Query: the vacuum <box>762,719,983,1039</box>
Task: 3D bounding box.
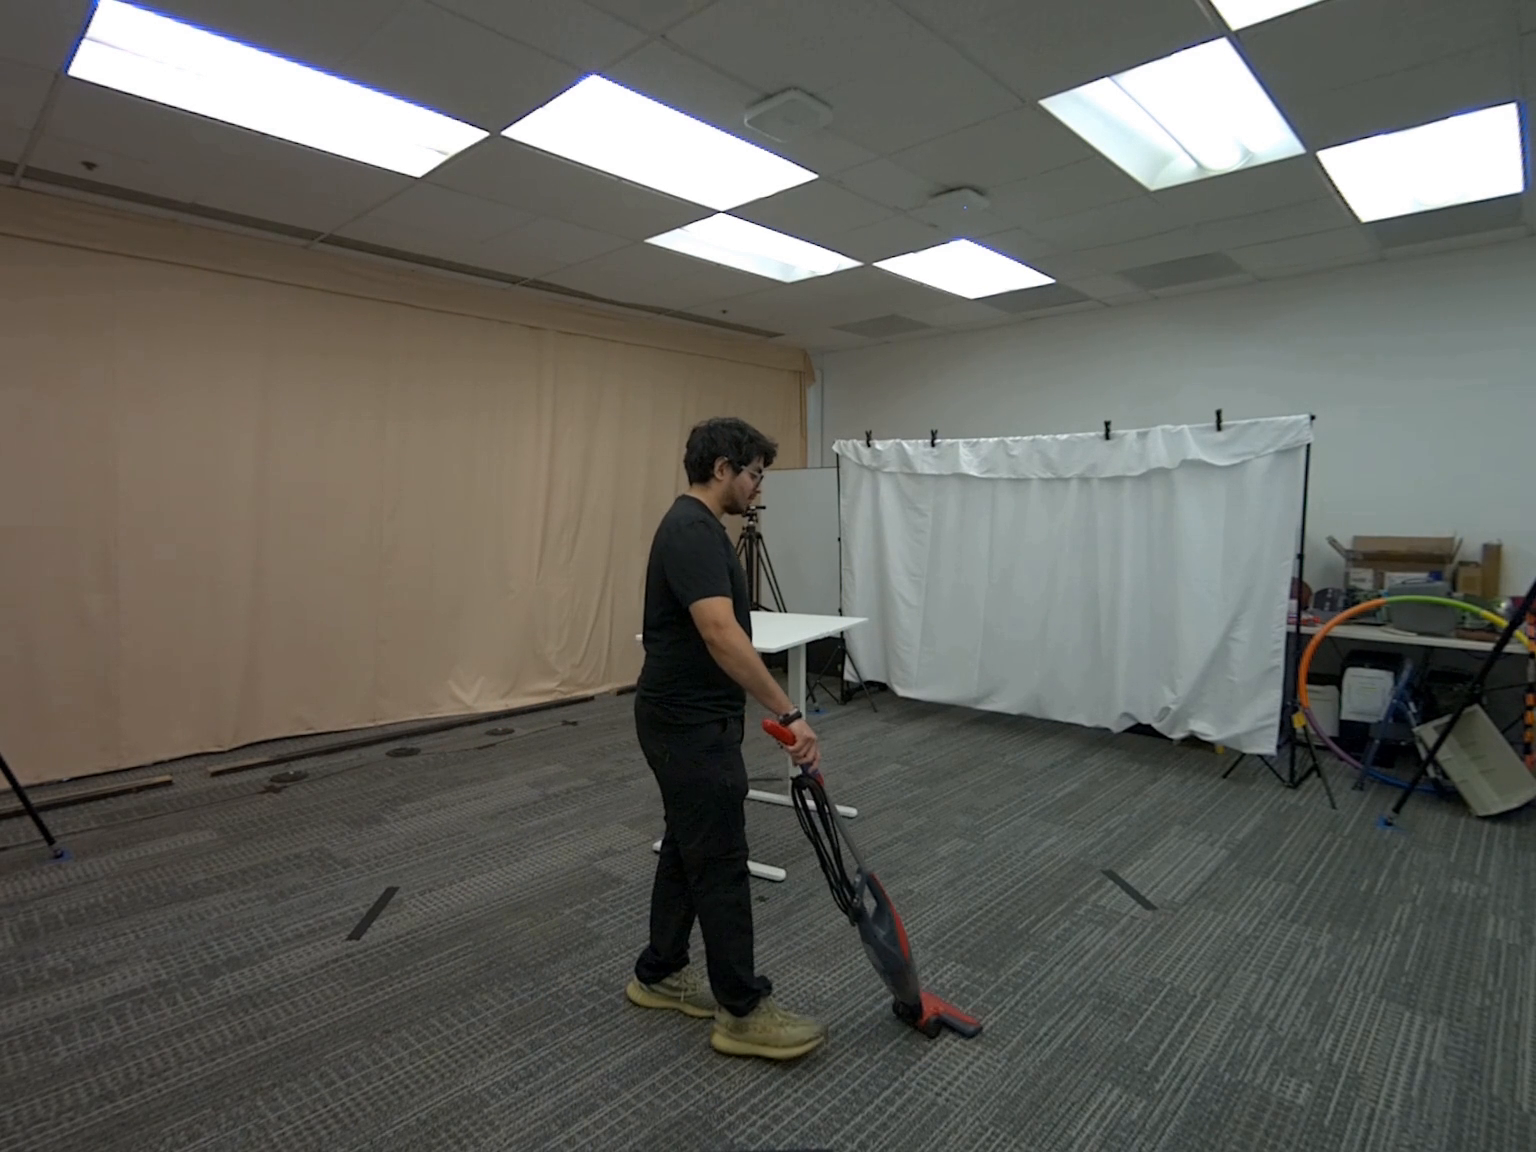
[{"bbox_3d":[0.228,0.773,2.100,0.142,1.028,0.261,-39,25,-30],"label":"vacuum"}]
